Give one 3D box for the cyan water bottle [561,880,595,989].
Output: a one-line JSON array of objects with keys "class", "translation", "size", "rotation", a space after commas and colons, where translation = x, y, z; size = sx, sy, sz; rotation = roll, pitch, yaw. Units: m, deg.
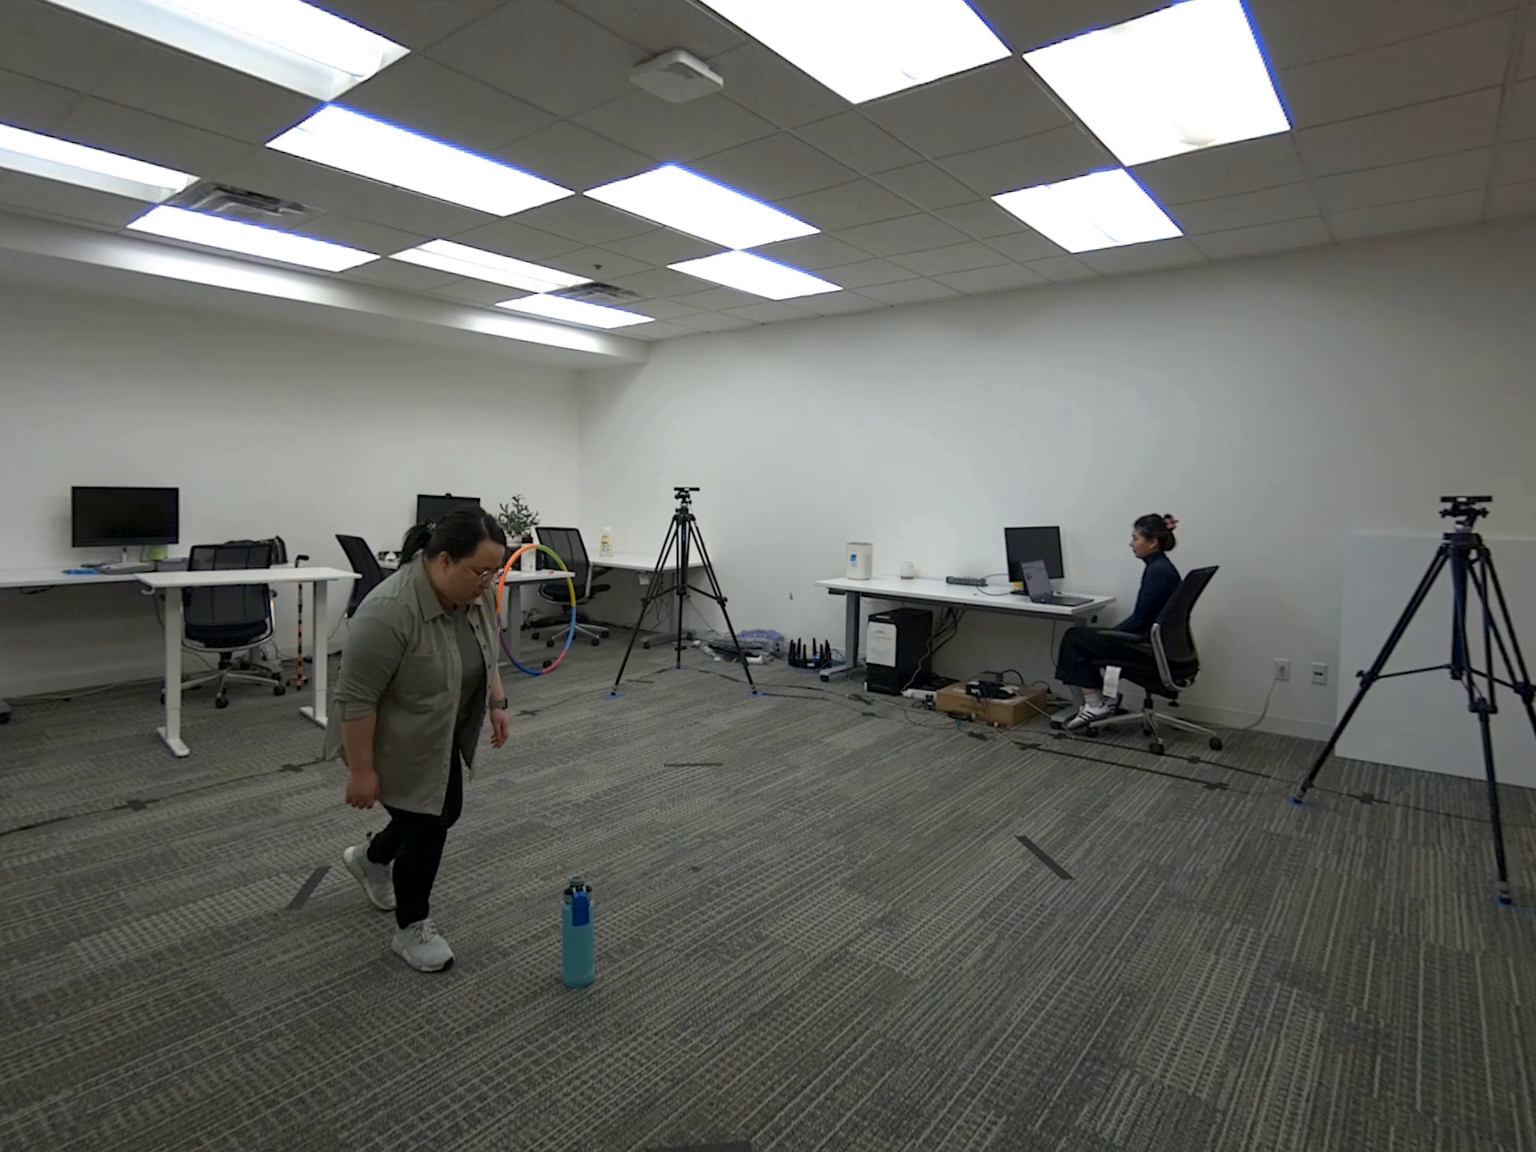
[{"class": "cyan water bottle", "translation": [-0.549, 1.001, 2.378], "size": [0.092, 0.282, 0.093], "rotation": [-2, 5, -2]}]
